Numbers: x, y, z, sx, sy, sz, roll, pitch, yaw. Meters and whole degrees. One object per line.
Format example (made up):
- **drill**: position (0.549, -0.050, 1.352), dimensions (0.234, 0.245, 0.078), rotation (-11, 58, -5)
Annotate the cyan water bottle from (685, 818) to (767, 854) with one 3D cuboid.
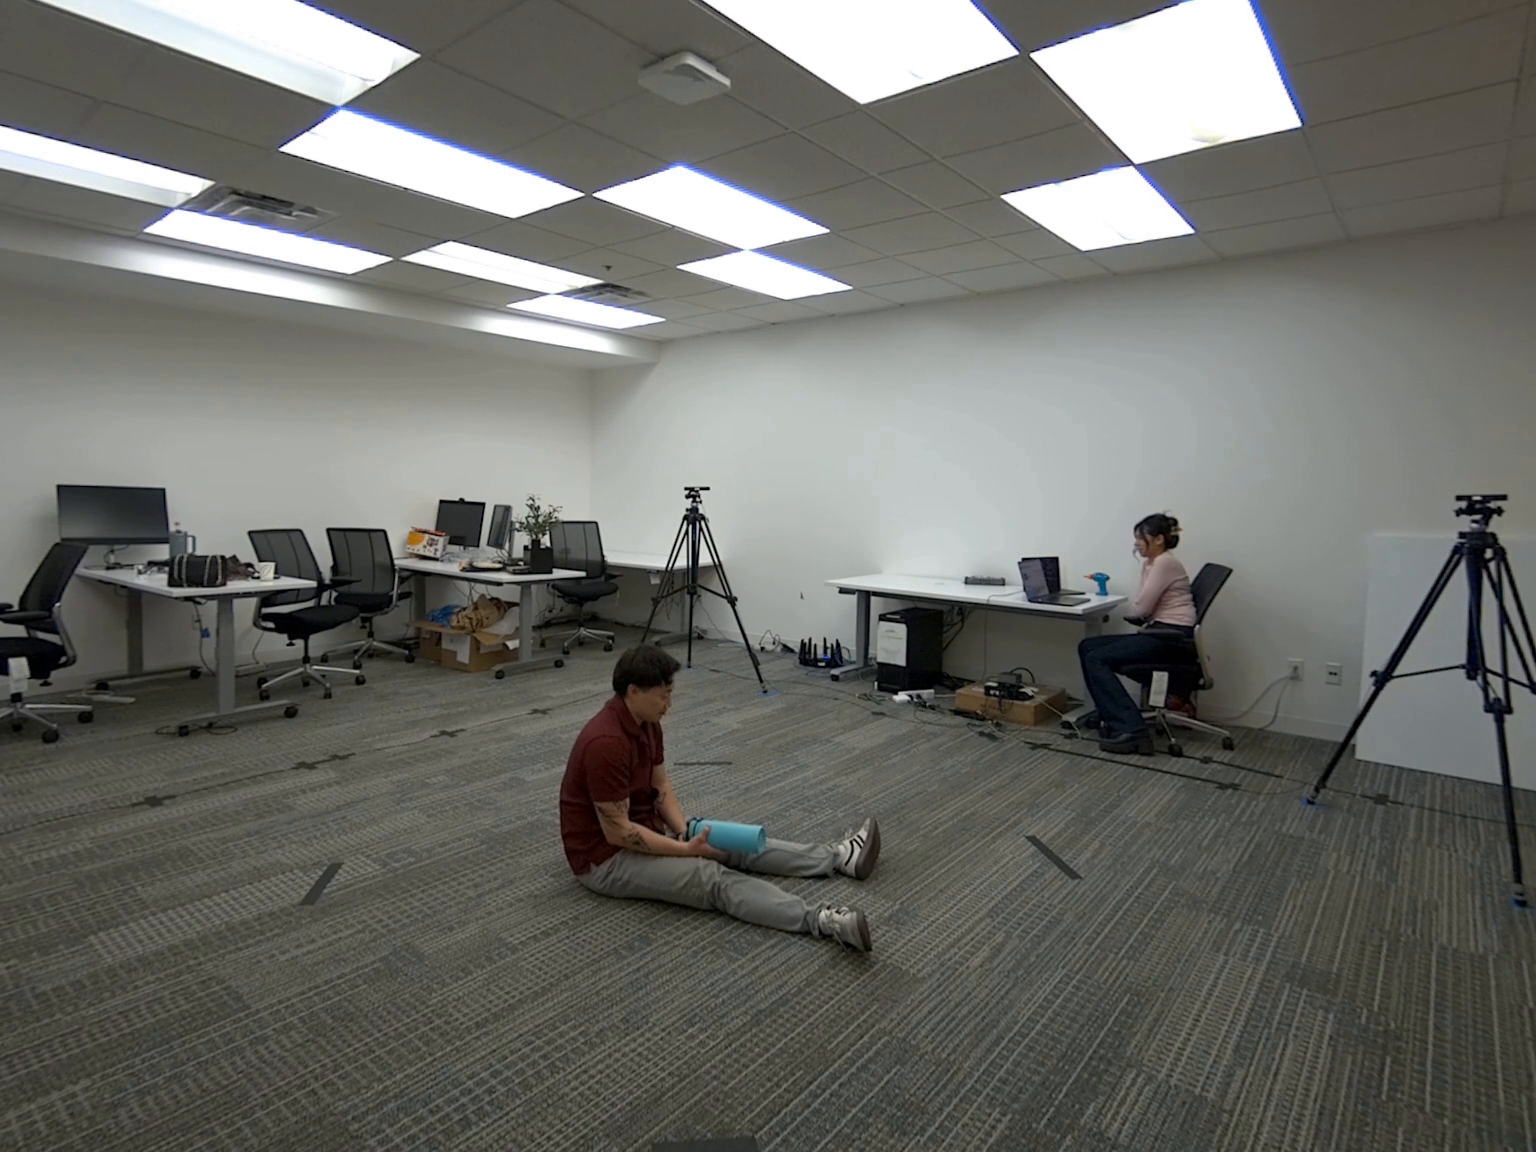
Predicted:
- **cyan water bottle**: position (-0.159, 0.875, 2.871), dimensions (0.289, 0.092, 0.090), rotation (-1, 3, 22)
